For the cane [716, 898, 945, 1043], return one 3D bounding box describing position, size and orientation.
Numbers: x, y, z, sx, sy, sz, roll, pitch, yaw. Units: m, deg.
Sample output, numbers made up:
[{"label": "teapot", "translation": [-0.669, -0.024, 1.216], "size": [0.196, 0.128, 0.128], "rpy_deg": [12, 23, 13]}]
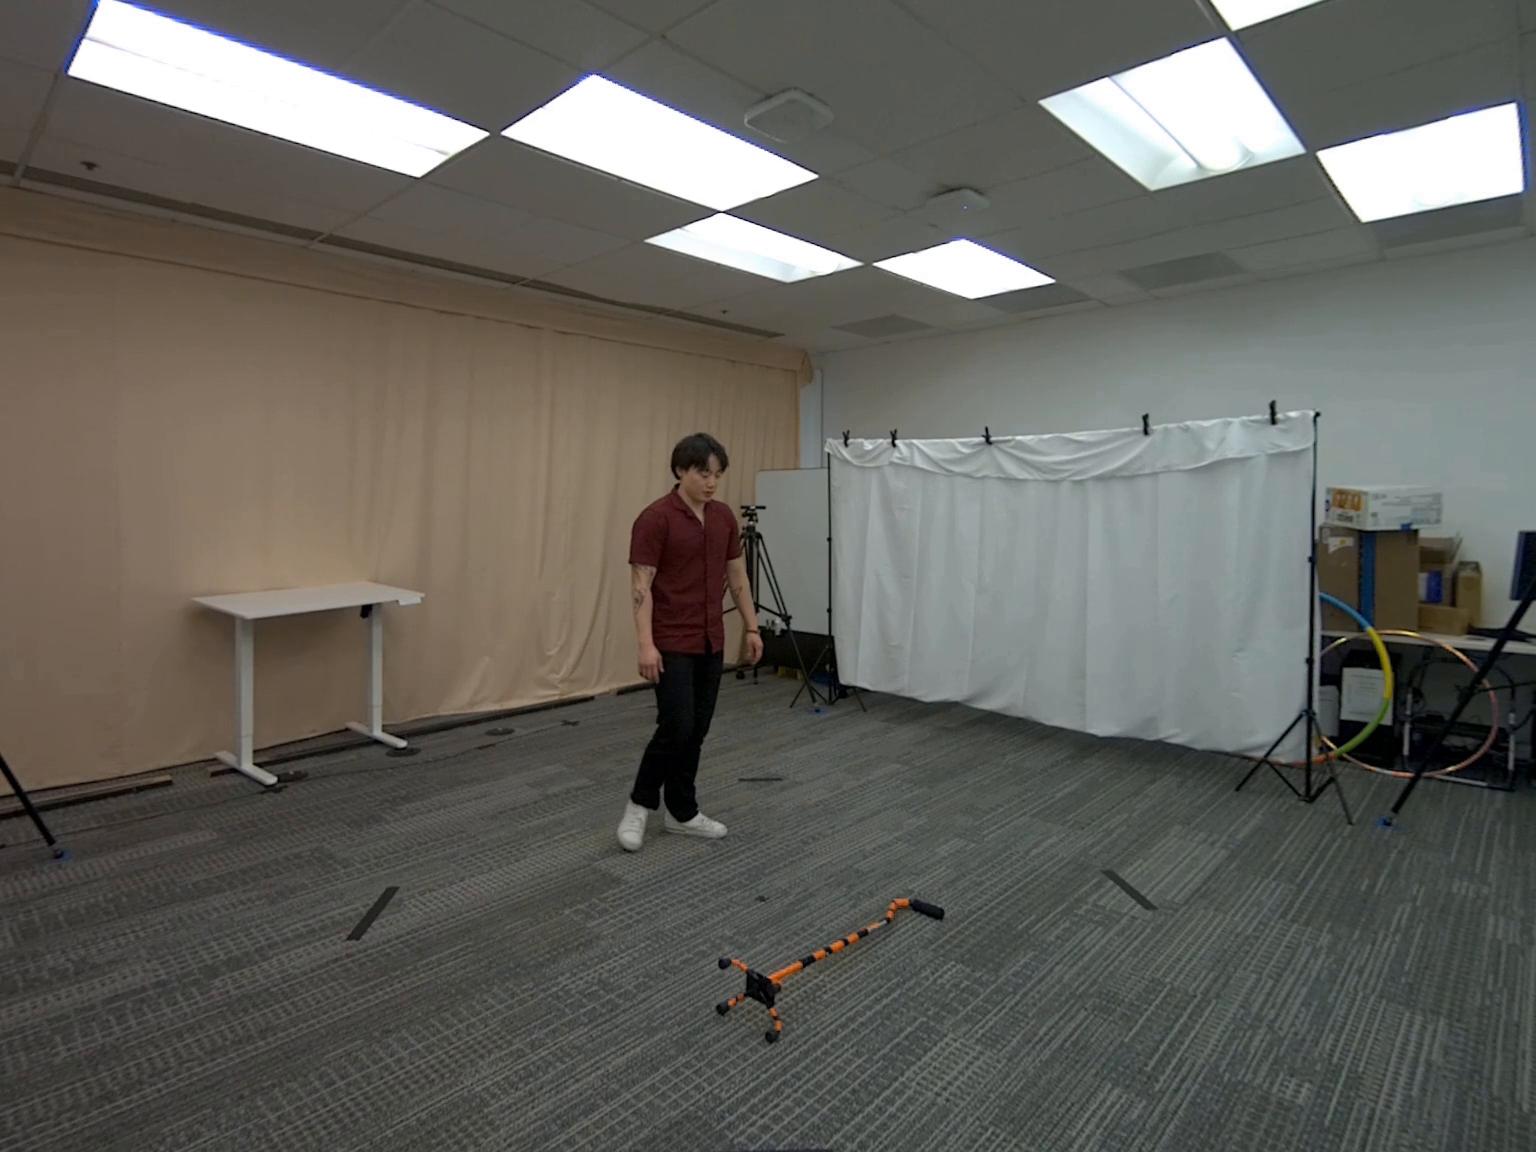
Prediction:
[{"label": "cane", "translation": [0.235, 1.133, 2.569], "size": [0.213, 0.151, 0.878], "rpy_deg": [4, 2, 42]}]
